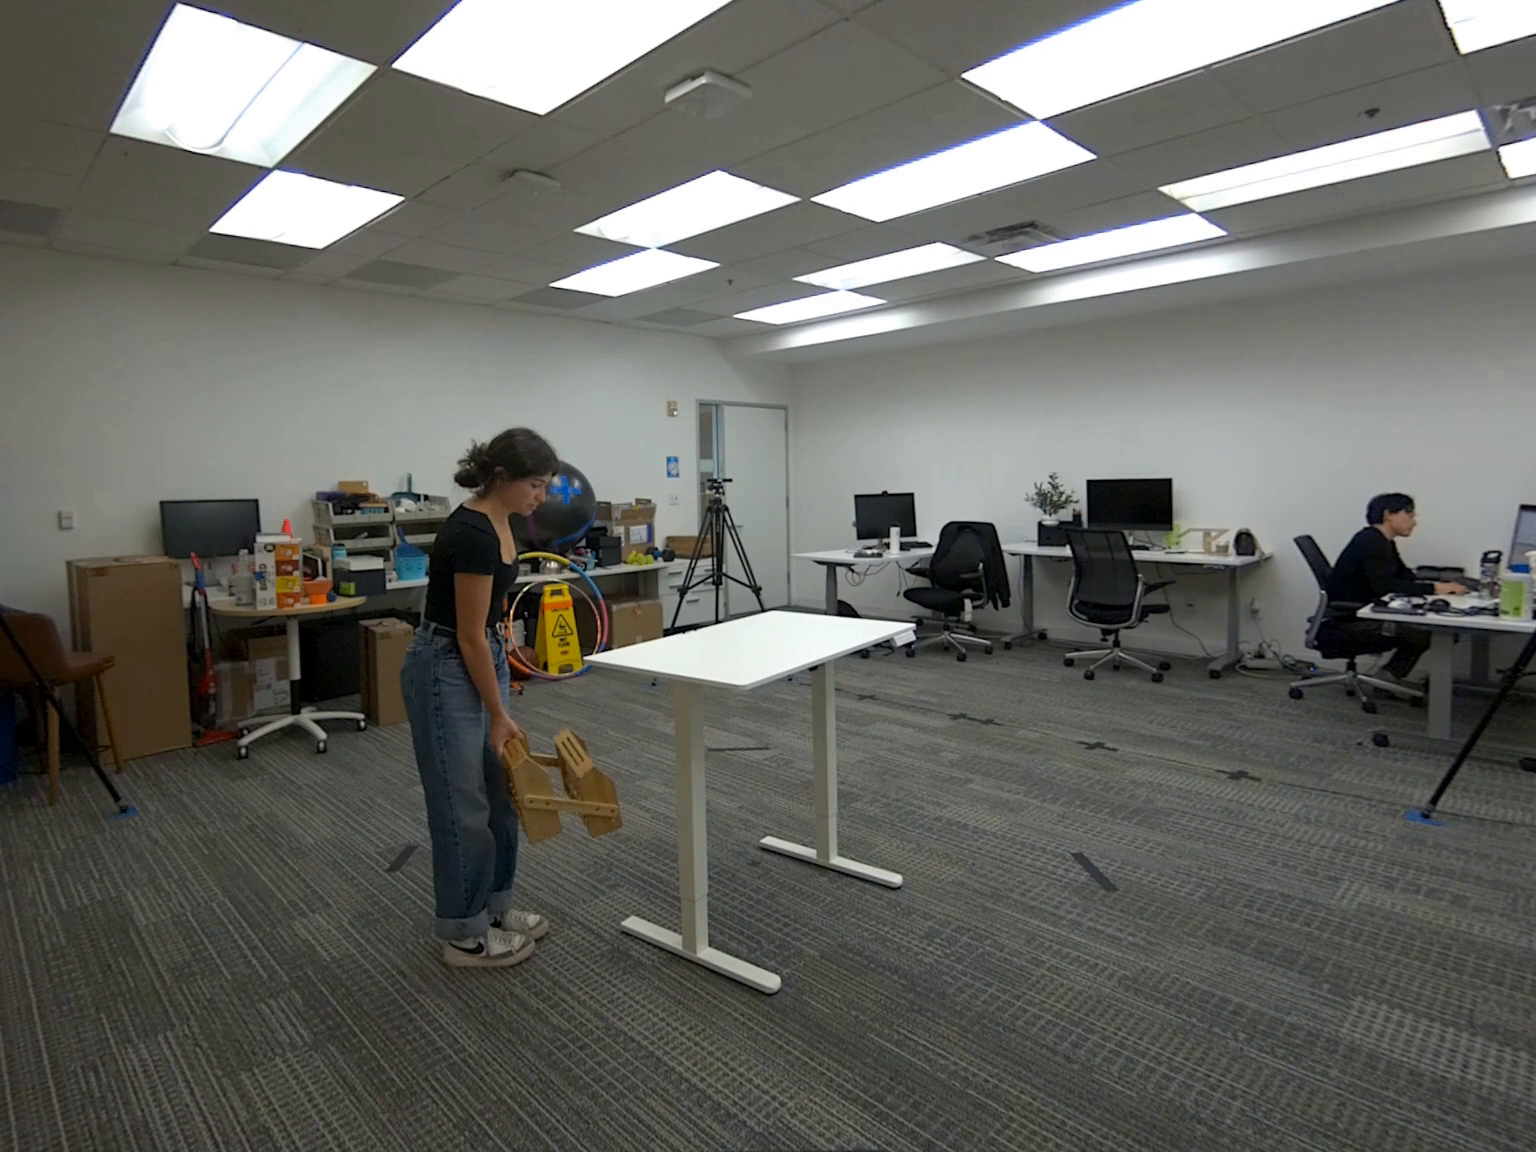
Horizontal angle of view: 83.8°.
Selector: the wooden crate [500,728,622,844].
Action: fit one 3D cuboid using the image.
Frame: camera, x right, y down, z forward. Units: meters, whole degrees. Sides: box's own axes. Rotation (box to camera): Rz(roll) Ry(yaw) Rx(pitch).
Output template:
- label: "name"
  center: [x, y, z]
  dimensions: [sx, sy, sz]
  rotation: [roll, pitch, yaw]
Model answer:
- label: "wooden crate"
  center: [-0.606, 0.567, 2.472]
  dimensions: [0.269, 0.297, 0.334]
  rotation: [-18, 18, -23]
